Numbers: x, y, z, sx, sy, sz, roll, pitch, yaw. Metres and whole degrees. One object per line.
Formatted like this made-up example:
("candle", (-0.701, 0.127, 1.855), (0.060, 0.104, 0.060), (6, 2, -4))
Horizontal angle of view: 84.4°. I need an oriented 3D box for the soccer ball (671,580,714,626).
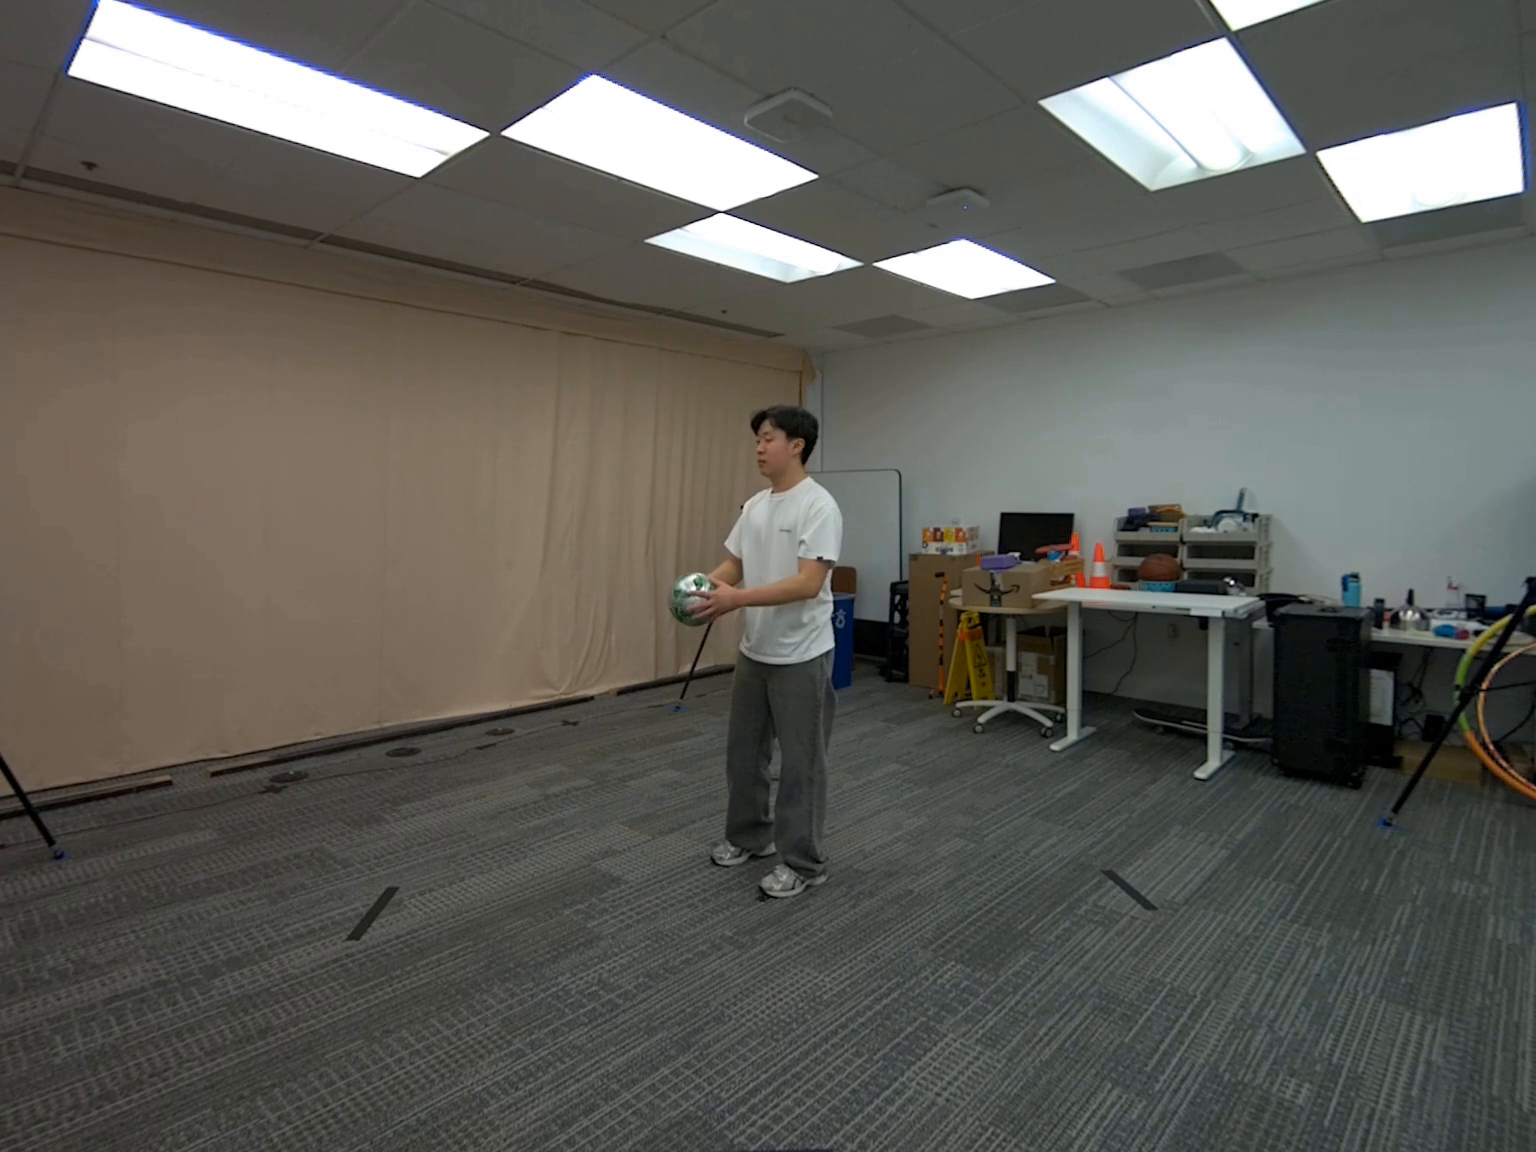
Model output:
("soccer ball", (-0.207, 0.144, 2.931), (0.187, 0.187, 0.188), (0, 4, -2))
